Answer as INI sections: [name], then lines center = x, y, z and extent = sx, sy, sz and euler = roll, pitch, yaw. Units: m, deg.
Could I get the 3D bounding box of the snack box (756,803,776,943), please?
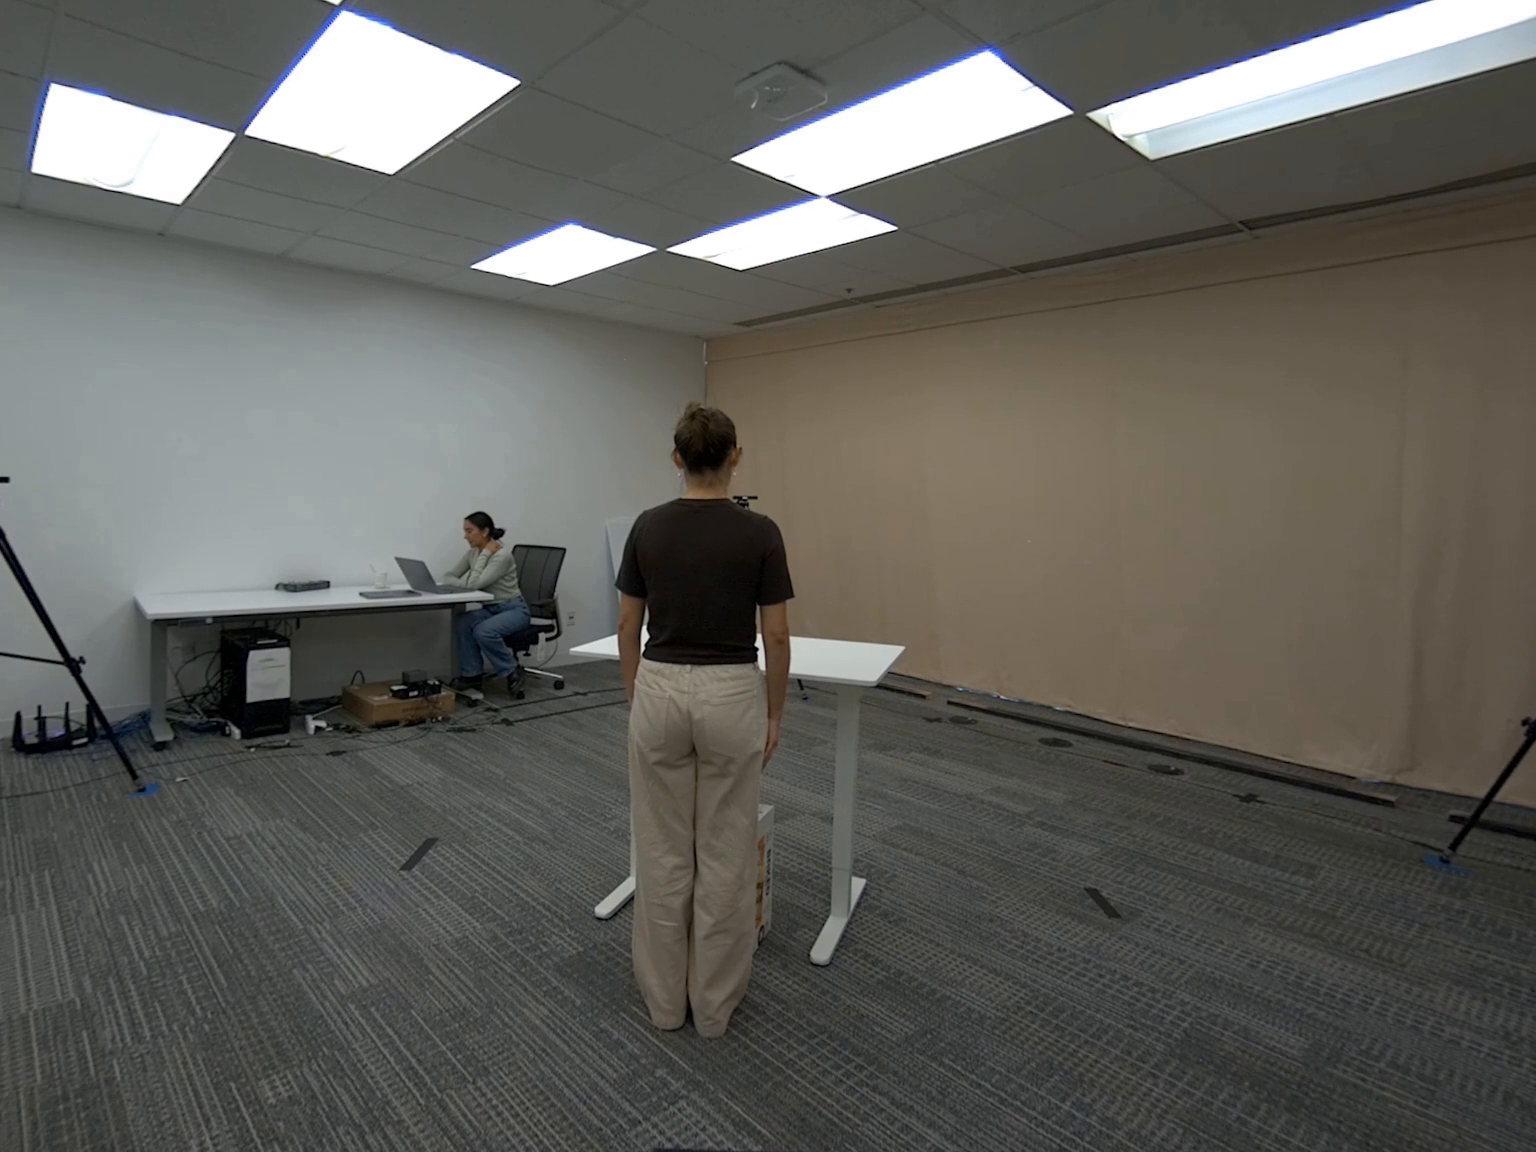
[snack box]
center = -0.179, 0.942, 2.667
extent = 0.345, 0.404, 0.203
euler = 3, 2, 19
